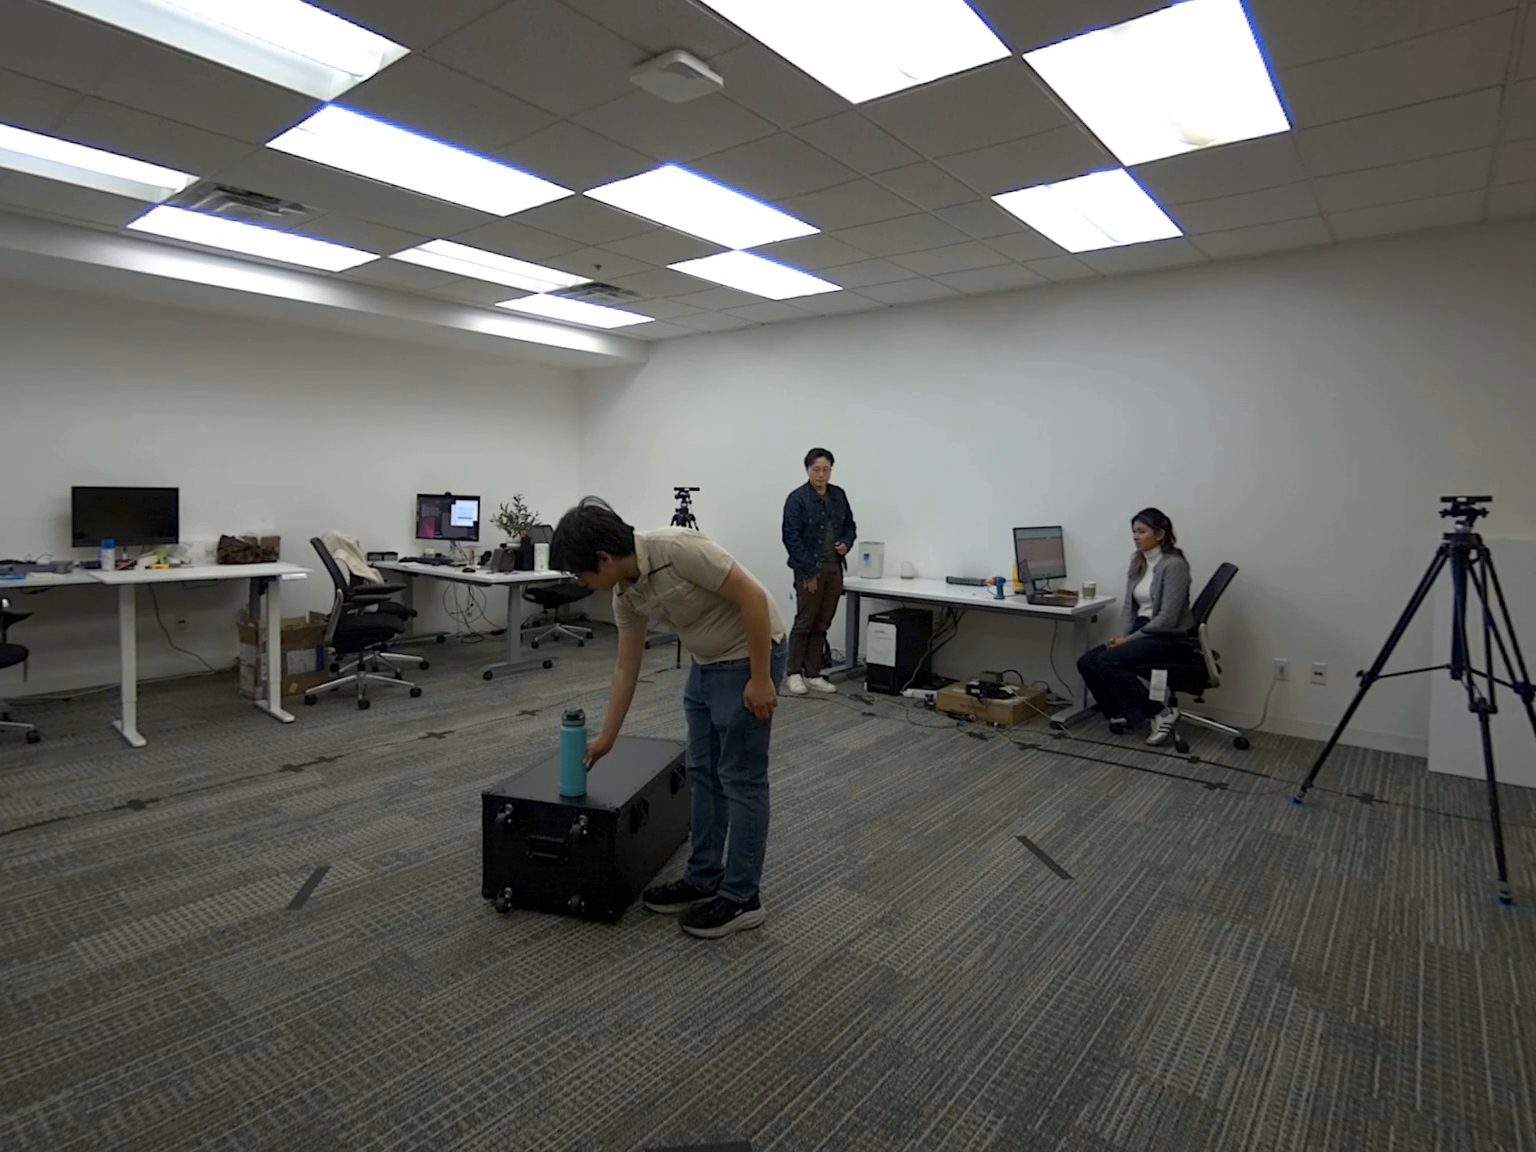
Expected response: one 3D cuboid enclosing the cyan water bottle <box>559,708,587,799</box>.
[{"bbox_3d":[-0.658,0.576,2.822,0.092,0.283,0.092,1,2,-2],"label":"cyan water bottle"}]
